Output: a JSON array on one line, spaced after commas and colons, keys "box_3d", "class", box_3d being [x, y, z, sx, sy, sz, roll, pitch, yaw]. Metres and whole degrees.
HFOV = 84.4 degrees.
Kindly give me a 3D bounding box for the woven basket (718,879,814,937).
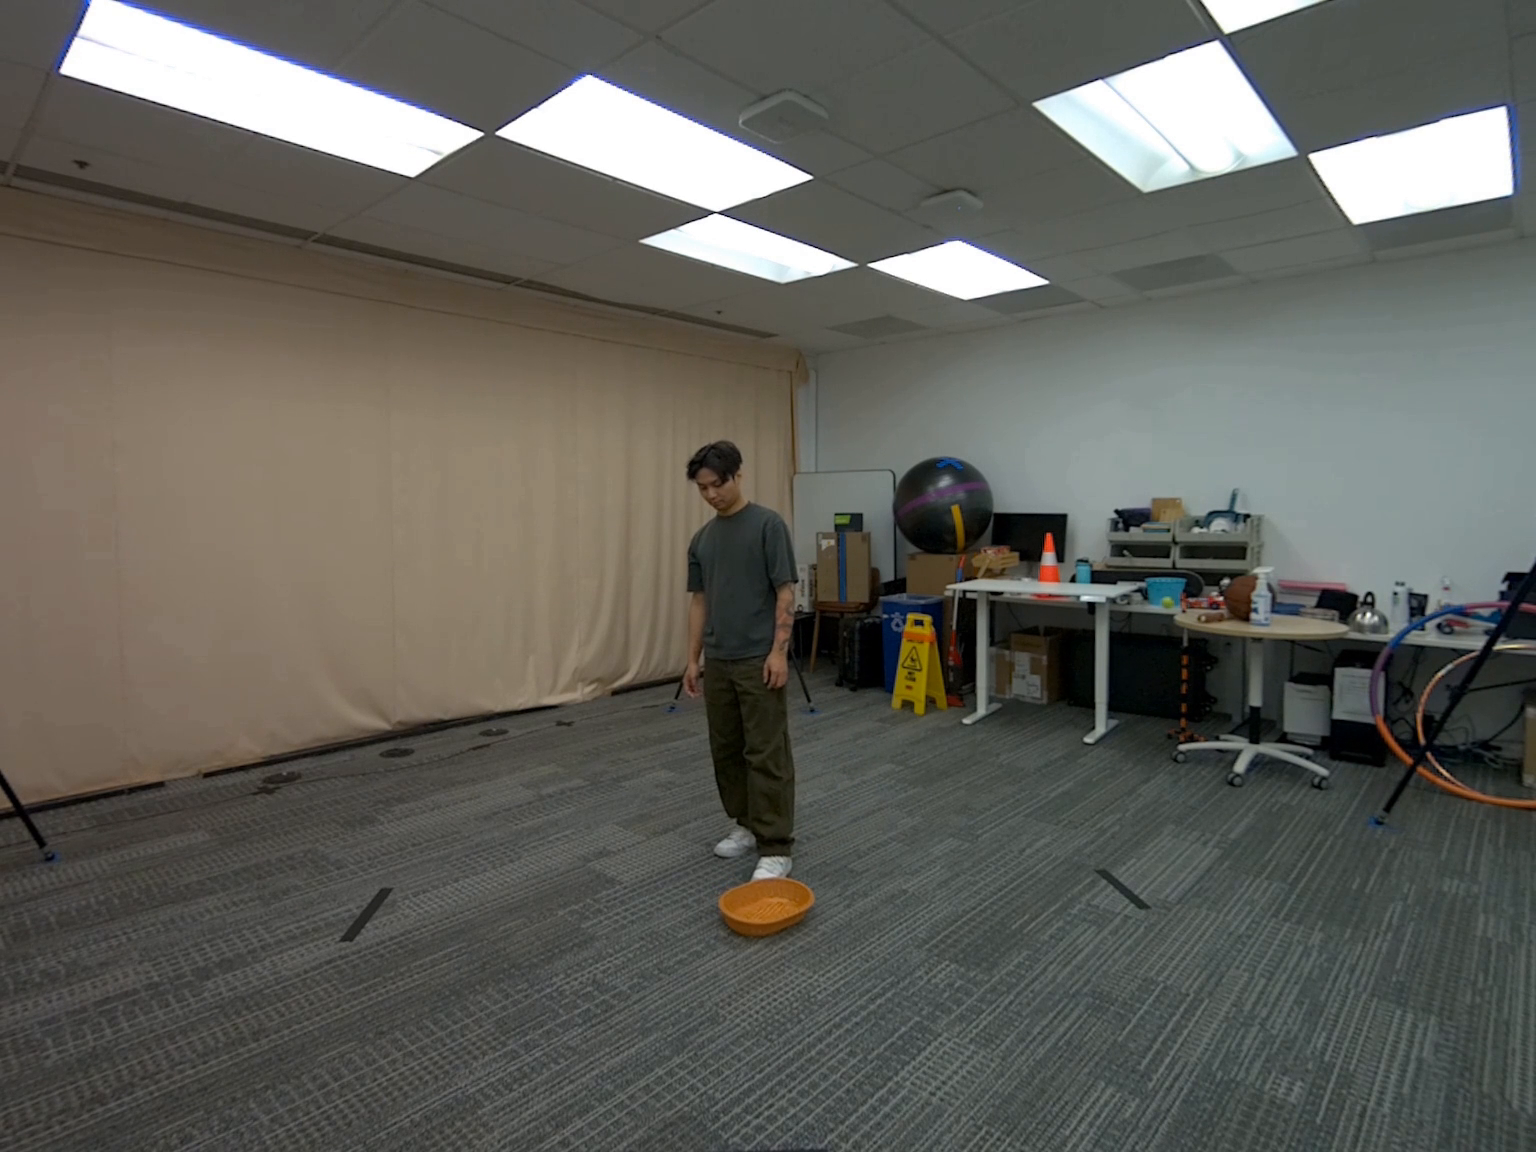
[{"box_3d": [-0.002, 1.109, 2.834, 0.340, 0.073, 0.261, -4, 8, -38], "class": "woven basket"}]
